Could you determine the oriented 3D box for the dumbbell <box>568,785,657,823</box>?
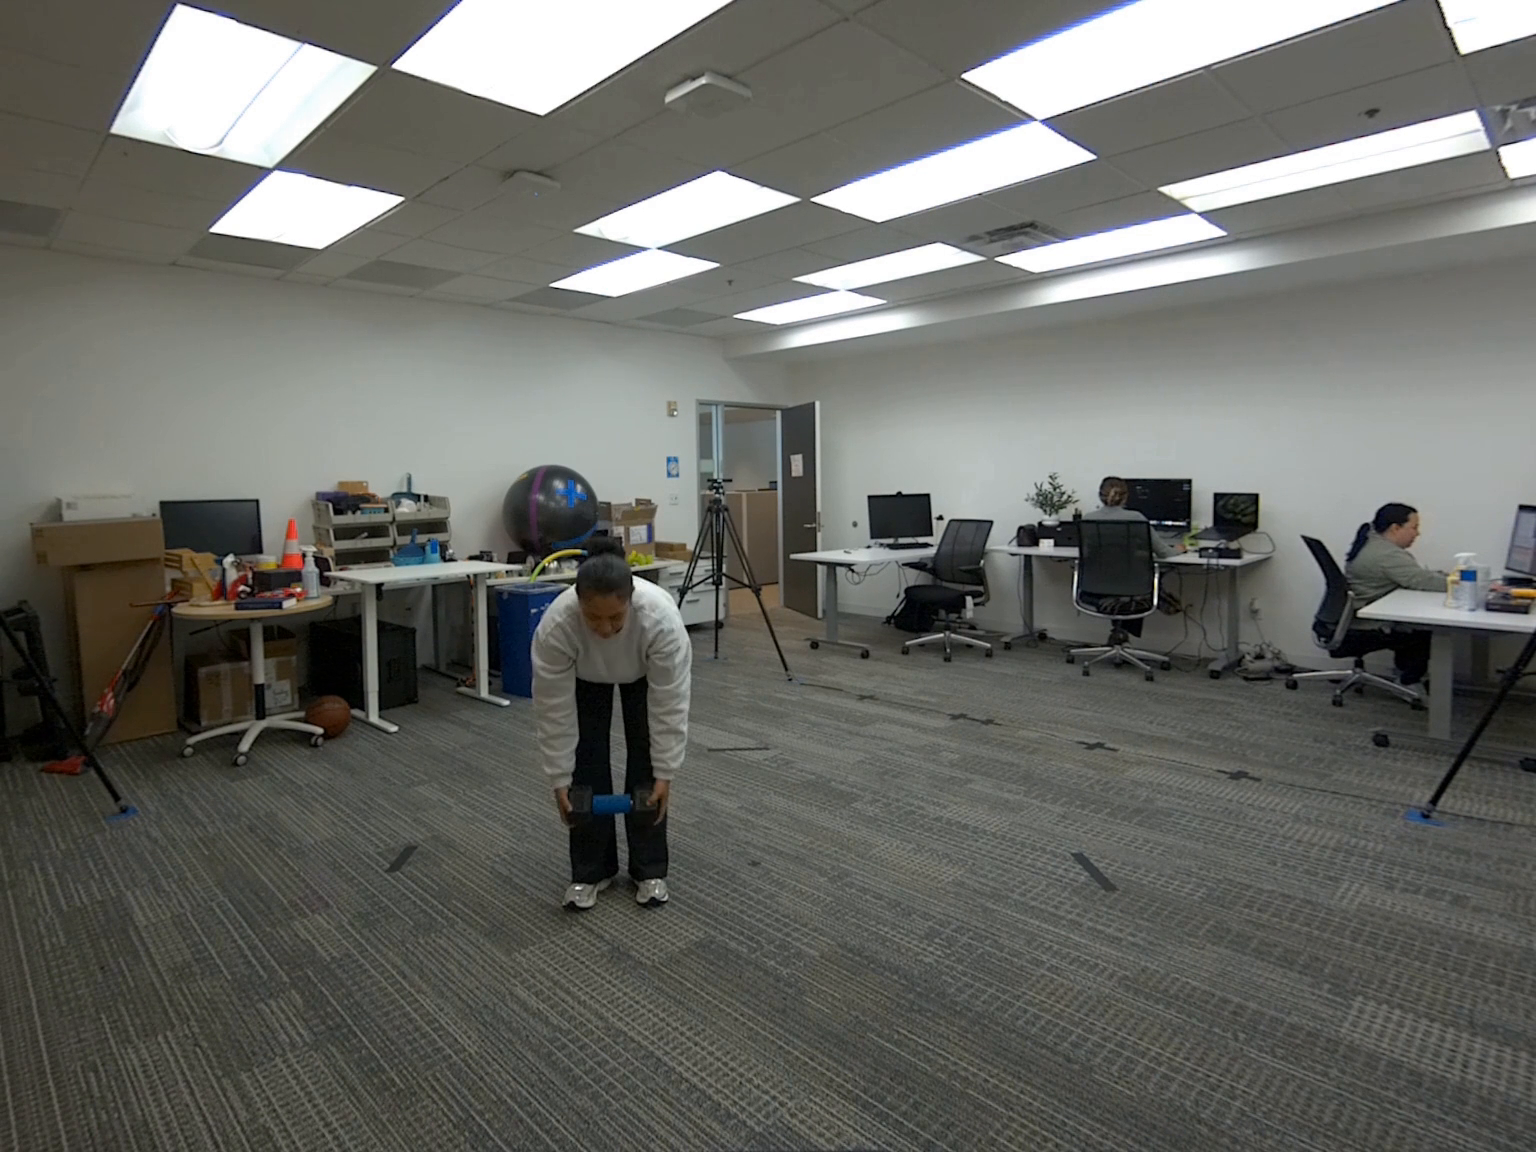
[{"bbox_3d":[-0.497,0.735,2.750,0.292,0.126,0.106,0,-30,-4],"label":"dumbbell"}]
